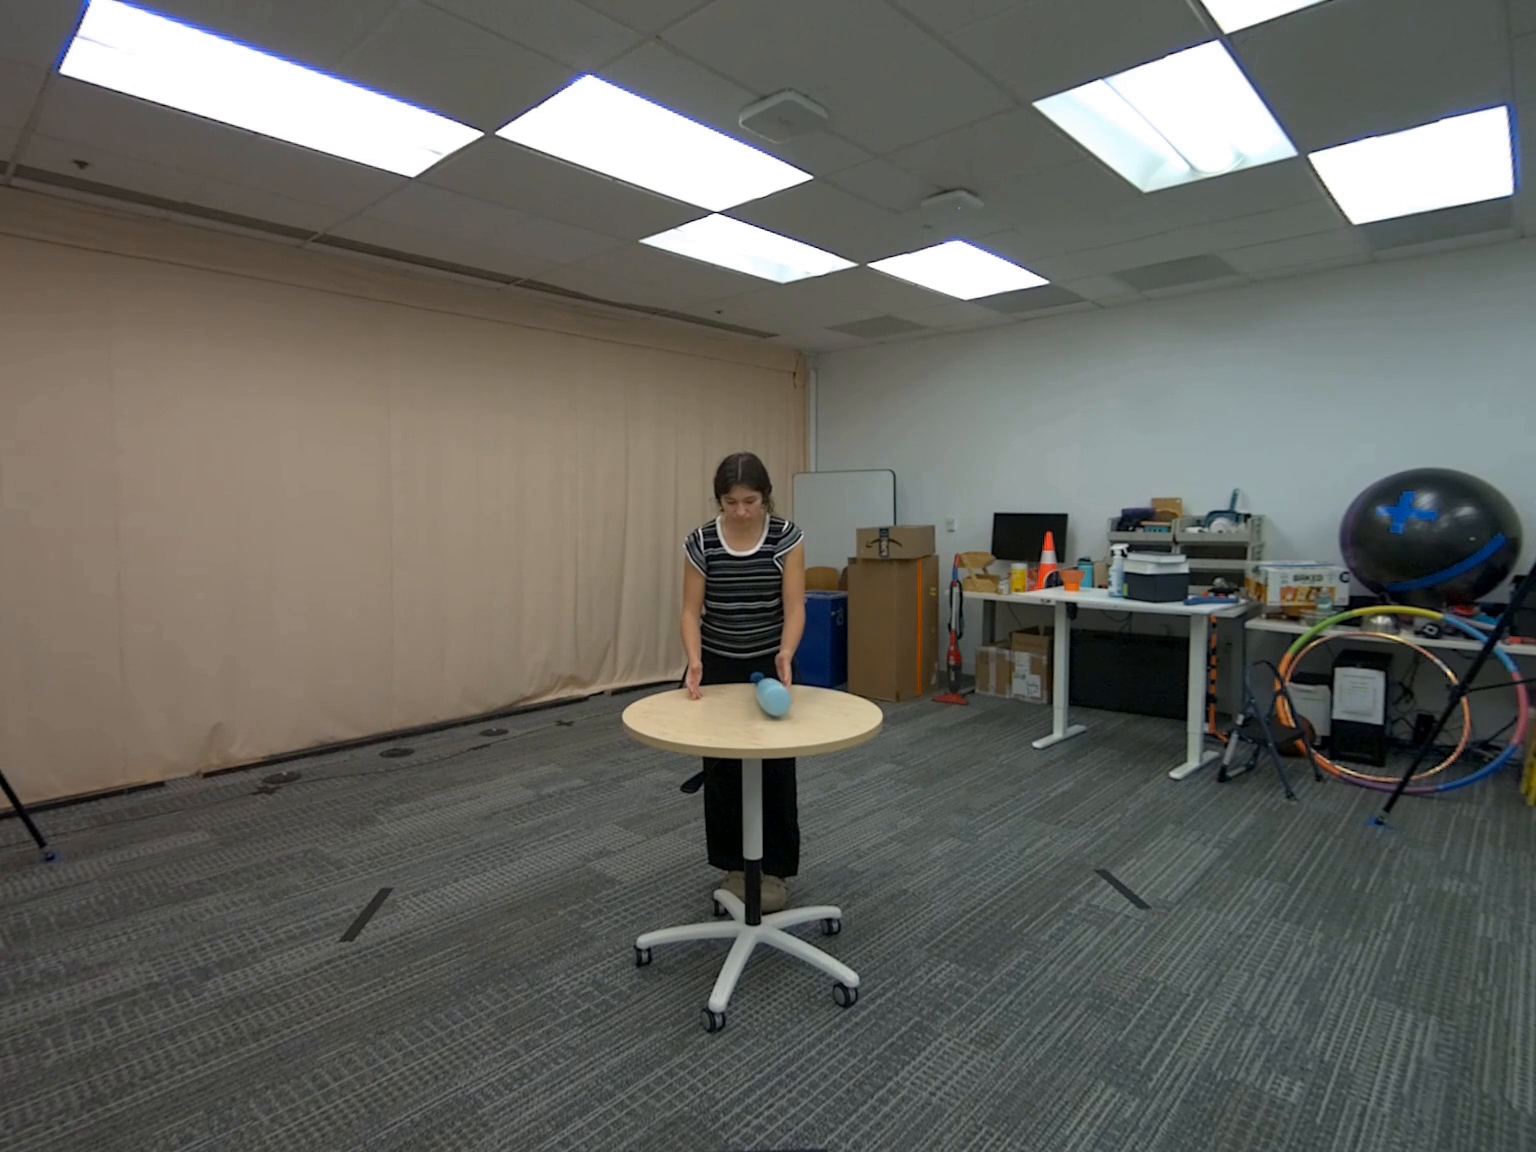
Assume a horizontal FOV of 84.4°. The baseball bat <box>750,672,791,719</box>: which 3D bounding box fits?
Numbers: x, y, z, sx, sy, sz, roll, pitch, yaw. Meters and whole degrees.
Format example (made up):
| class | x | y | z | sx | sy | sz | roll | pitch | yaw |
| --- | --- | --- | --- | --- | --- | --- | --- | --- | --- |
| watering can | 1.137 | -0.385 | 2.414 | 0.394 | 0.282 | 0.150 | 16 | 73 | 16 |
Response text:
| class | x | y | z | sx | sy | sz | roll | pitch | yaw |
| --- | --- | --- | --- | --- | --- | --- | --- | --- | --- |
| baseball bat | -0.008 | 0.355 | 2.645 | 0.088 | 0.089 | 0.546 | 0 | 1 | -7 |
